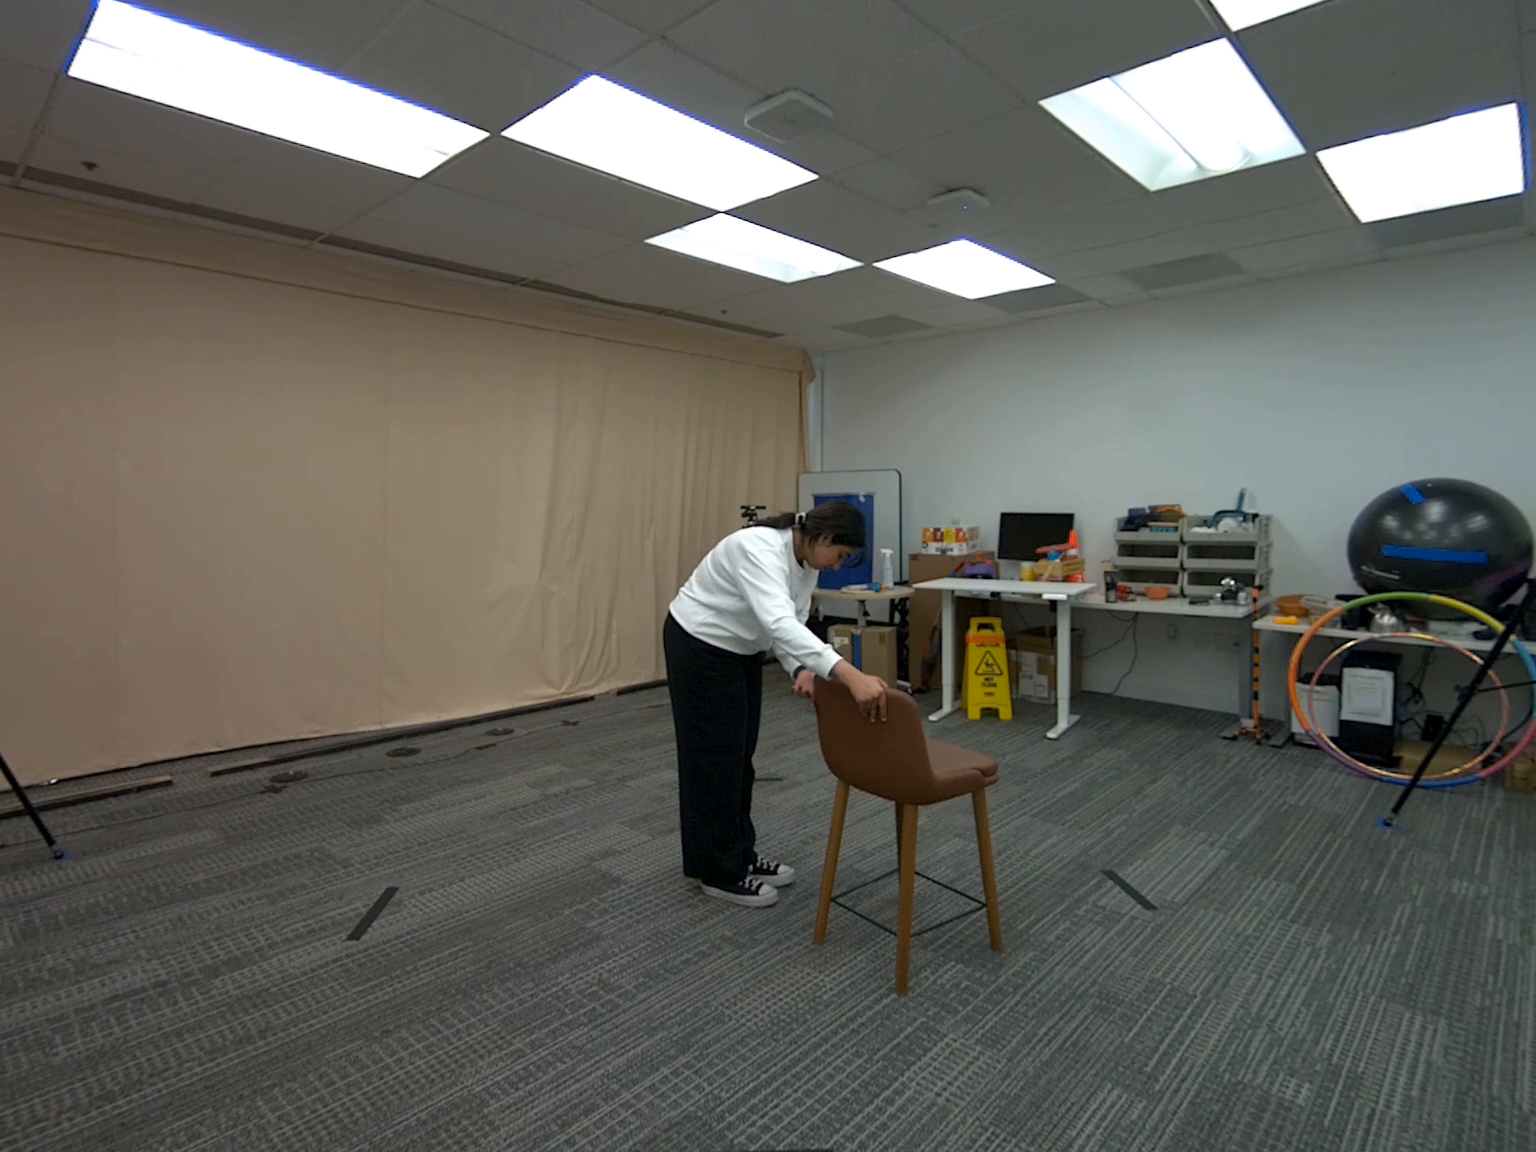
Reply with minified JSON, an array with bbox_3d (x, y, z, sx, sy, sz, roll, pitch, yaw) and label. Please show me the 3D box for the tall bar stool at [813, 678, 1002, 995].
[{"bbox_3d":[0.438,0.733,2.639,0.454,0.887,0.471,-5,6,-37],"label":"tall bar stool"}]
